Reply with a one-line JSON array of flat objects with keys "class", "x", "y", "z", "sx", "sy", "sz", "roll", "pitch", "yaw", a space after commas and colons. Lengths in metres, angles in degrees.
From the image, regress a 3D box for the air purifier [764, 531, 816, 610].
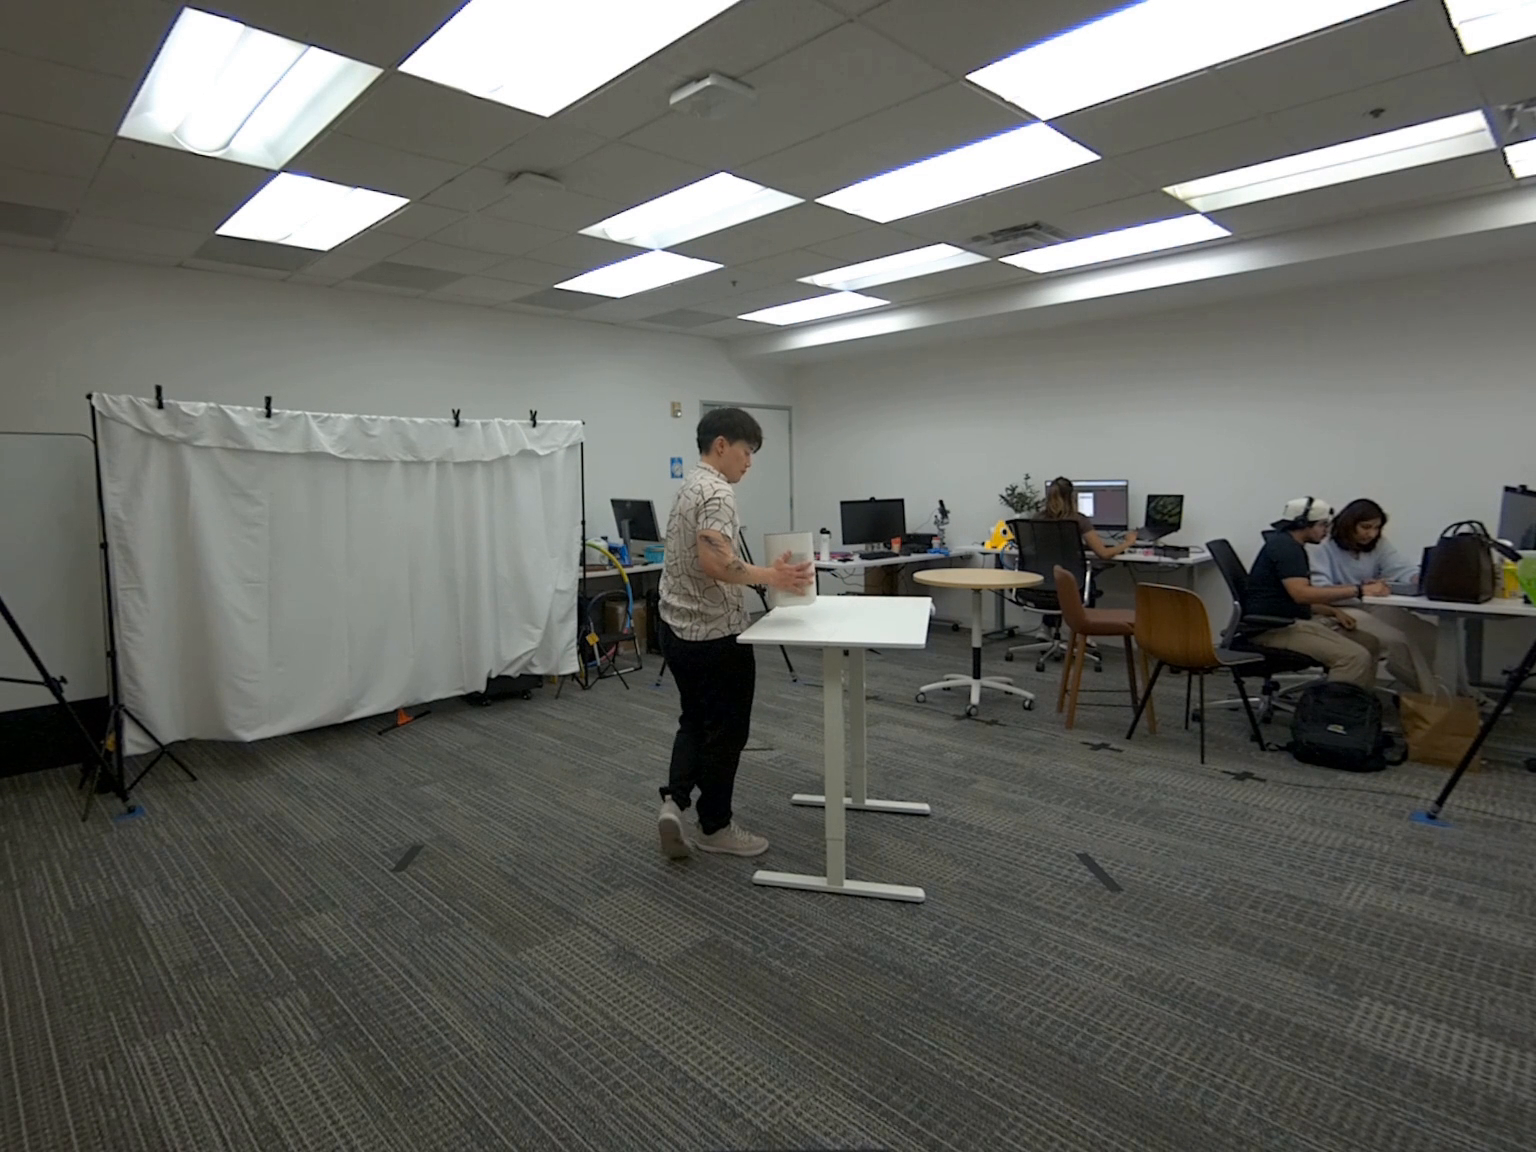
[{"class": "air purifier", "x": 0.077, "y": -0.026, "z": 3.092, "sx": 0.171, "sy": 0.265, "sz": 0.172, "roll": -3, "pitch": 2, "yaw": -6}]
